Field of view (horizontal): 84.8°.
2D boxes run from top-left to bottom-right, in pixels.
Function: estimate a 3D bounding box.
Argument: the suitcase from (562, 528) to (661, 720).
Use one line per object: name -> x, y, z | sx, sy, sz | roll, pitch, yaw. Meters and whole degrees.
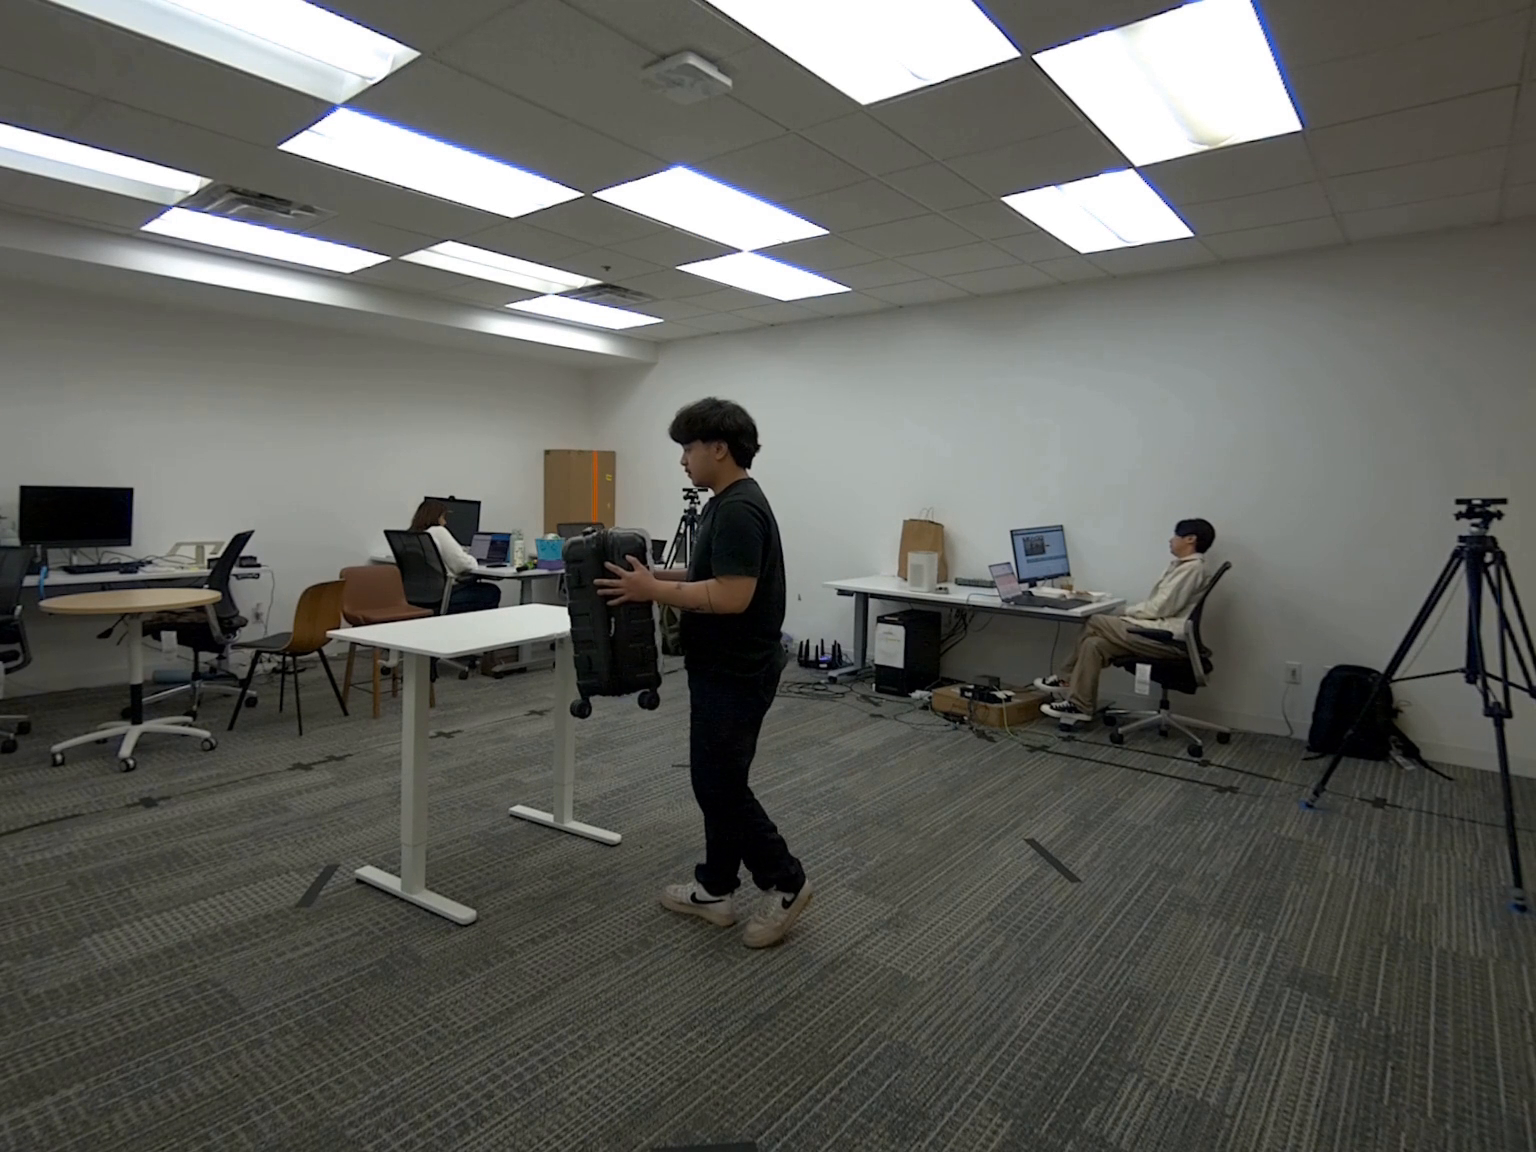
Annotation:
suitcase -> -0.497, 0.112, 2.680 | 0.247, 0.549, 0.377 | -6, 2, -4
